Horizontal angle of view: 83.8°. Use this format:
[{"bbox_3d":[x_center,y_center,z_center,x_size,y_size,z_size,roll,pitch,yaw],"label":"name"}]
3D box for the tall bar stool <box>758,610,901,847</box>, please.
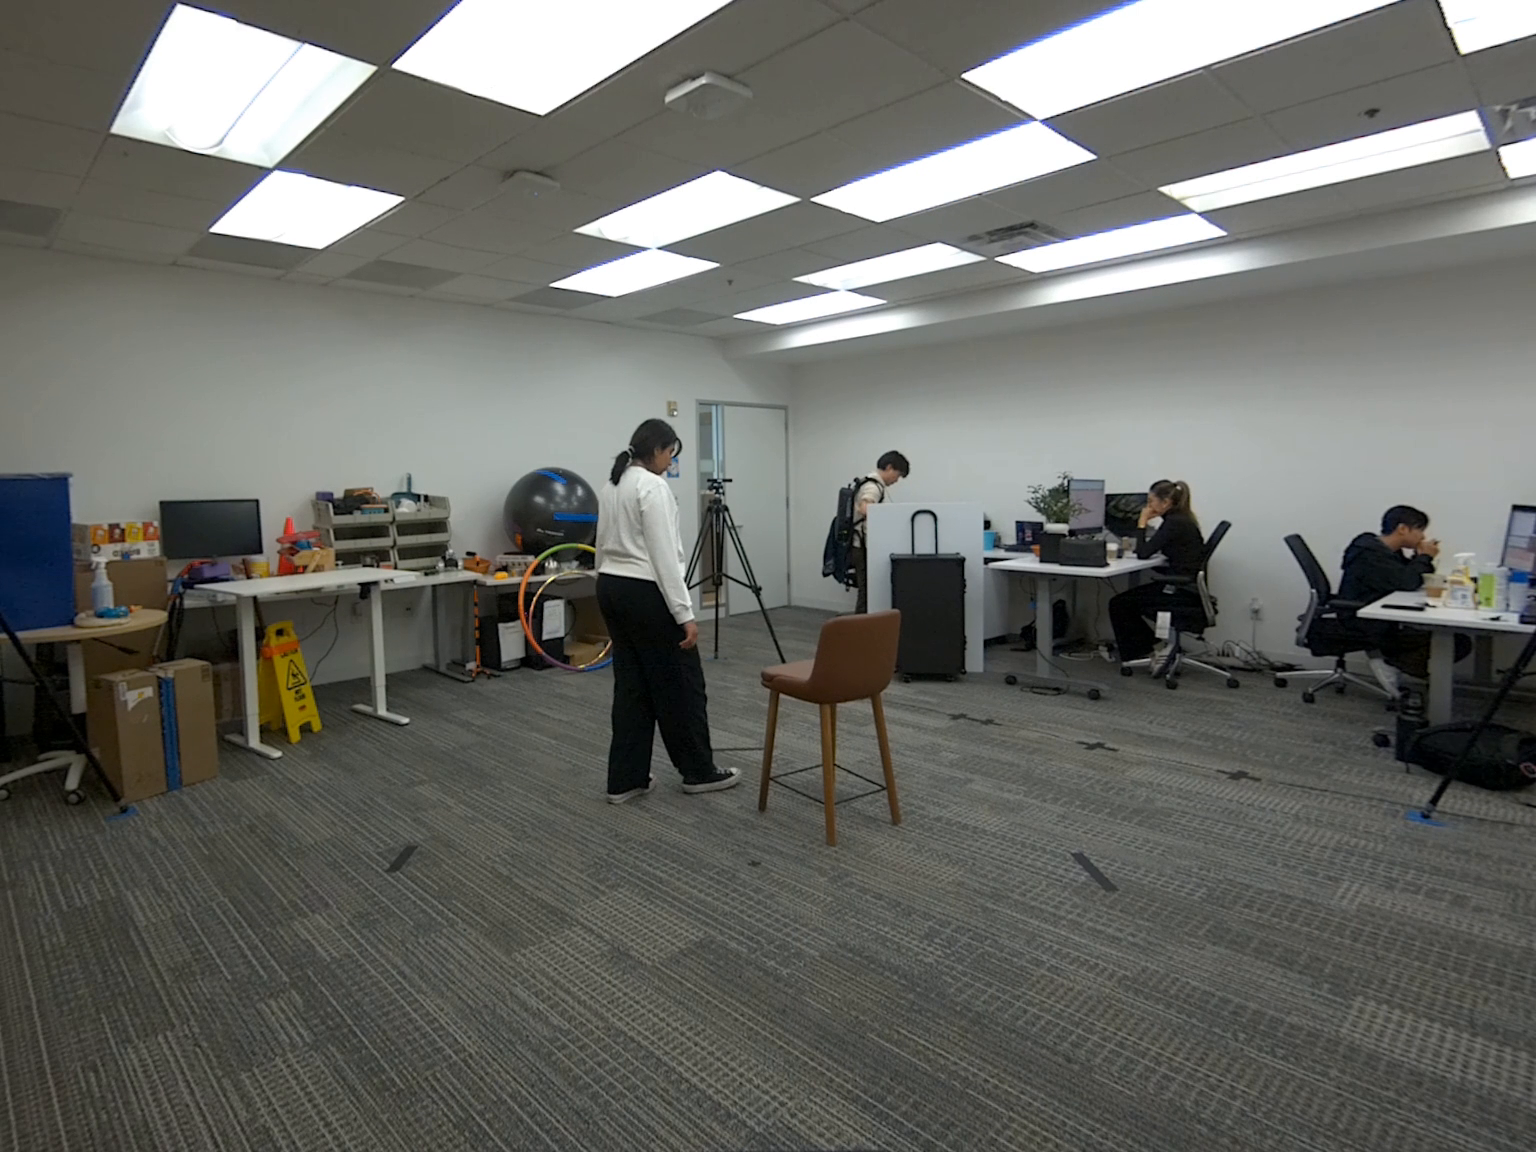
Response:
[{"bbox_3d":[0.252,0.563,3.503,0.445,0.885,0.482,-4,7,-36],"label":"tall bar stool"}]
